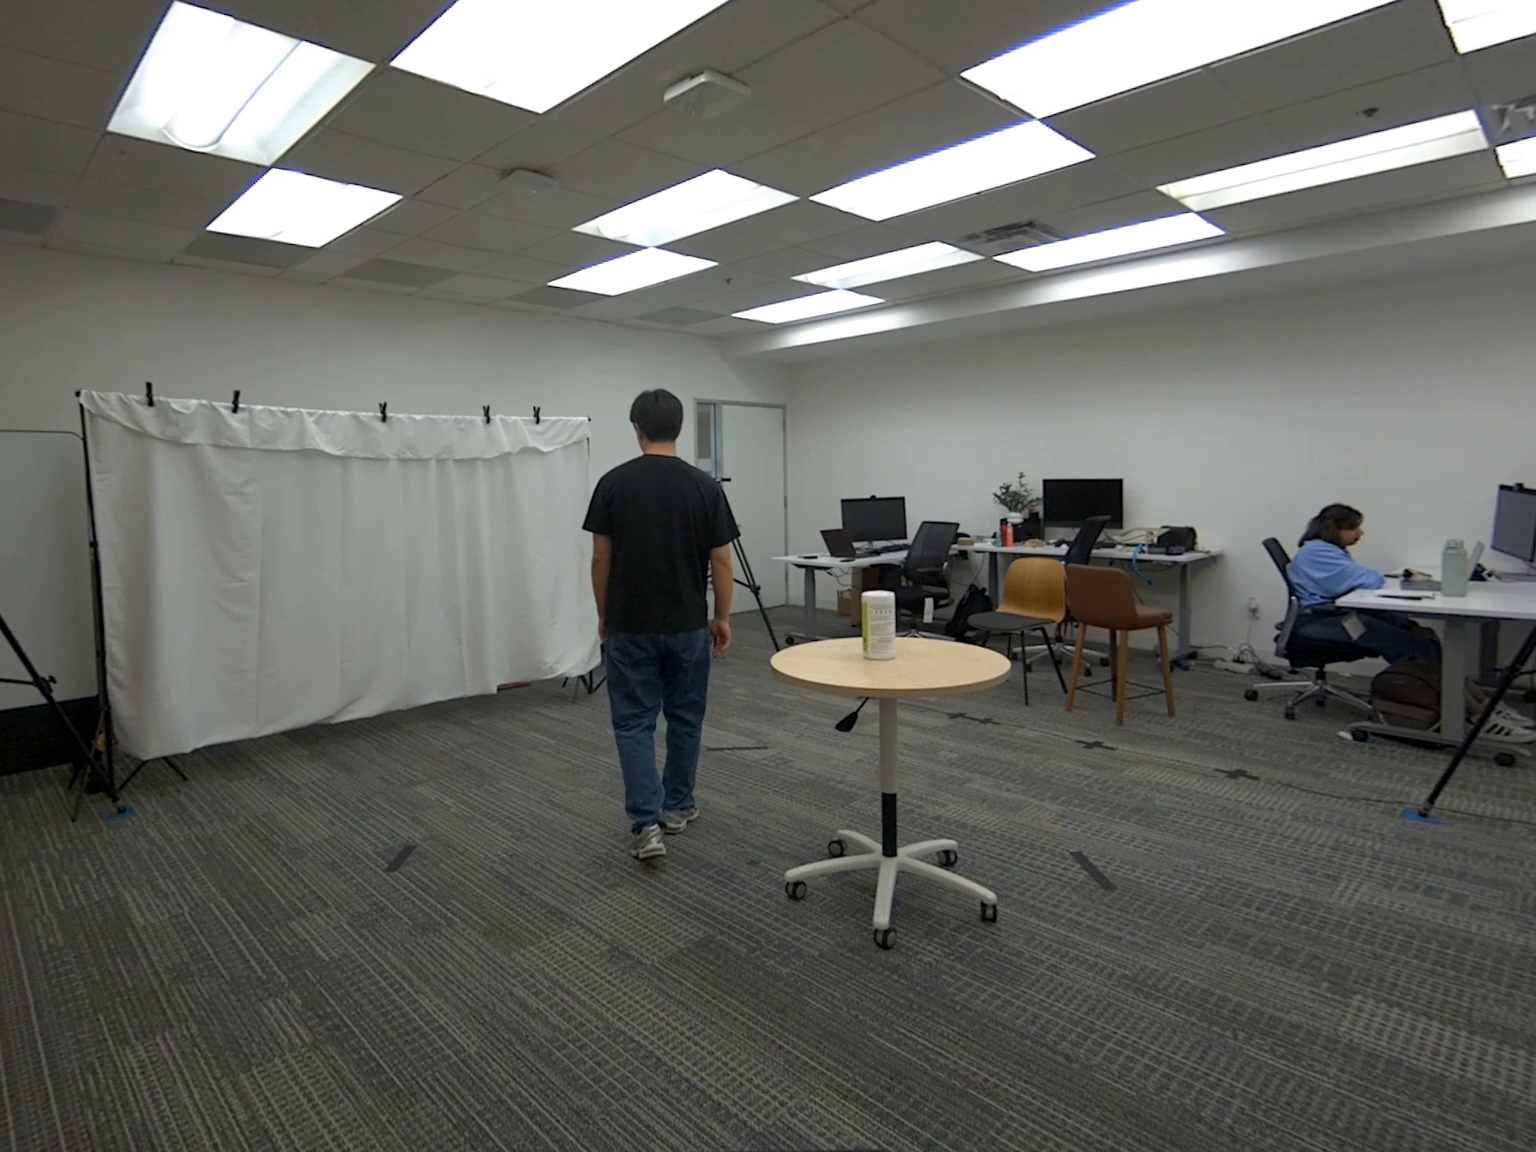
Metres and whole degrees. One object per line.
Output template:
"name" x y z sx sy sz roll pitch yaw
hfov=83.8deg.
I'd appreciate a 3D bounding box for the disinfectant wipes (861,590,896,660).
"disinfectant wipes" 0.375 0.165 2.829 0.118 0.217 0.118 -2 4 -1
